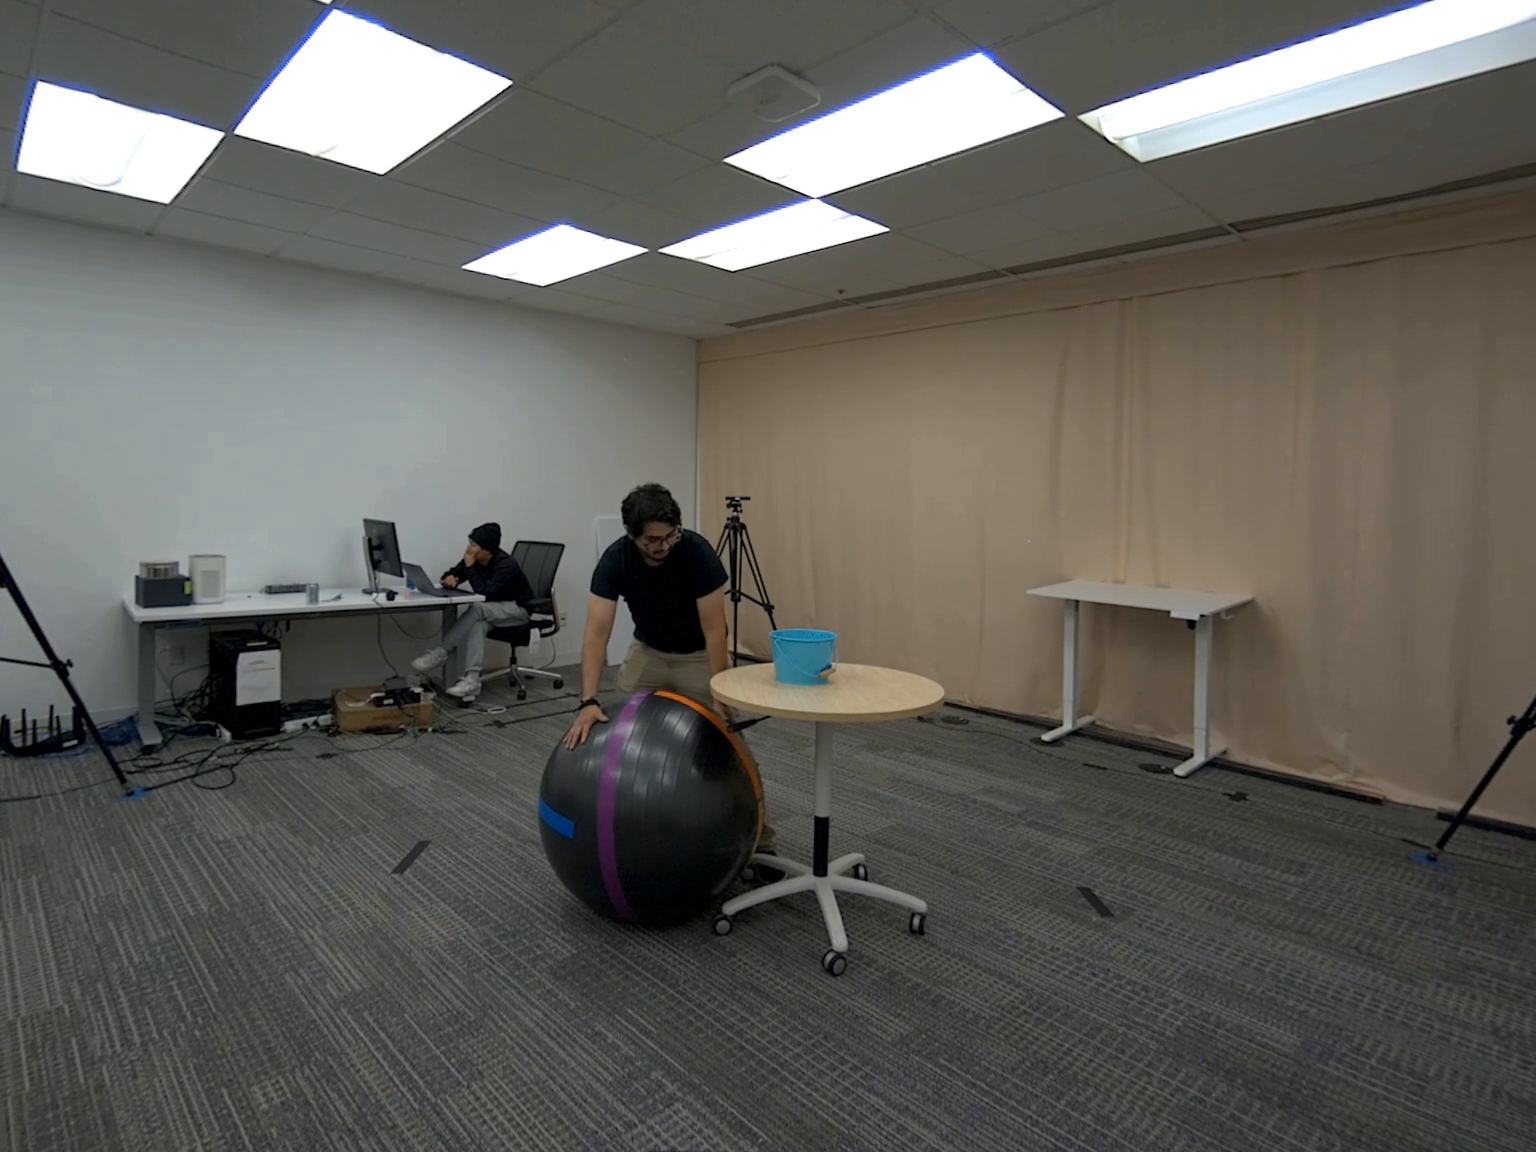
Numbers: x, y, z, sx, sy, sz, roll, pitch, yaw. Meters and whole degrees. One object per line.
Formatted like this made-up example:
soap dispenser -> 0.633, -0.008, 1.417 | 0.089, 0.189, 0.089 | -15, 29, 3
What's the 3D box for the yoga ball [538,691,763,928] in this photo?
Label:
yoga ball -> -0.405, 0.784, 2.858 | 0.757, 0.756, 0.761 | 1, 4, -1
